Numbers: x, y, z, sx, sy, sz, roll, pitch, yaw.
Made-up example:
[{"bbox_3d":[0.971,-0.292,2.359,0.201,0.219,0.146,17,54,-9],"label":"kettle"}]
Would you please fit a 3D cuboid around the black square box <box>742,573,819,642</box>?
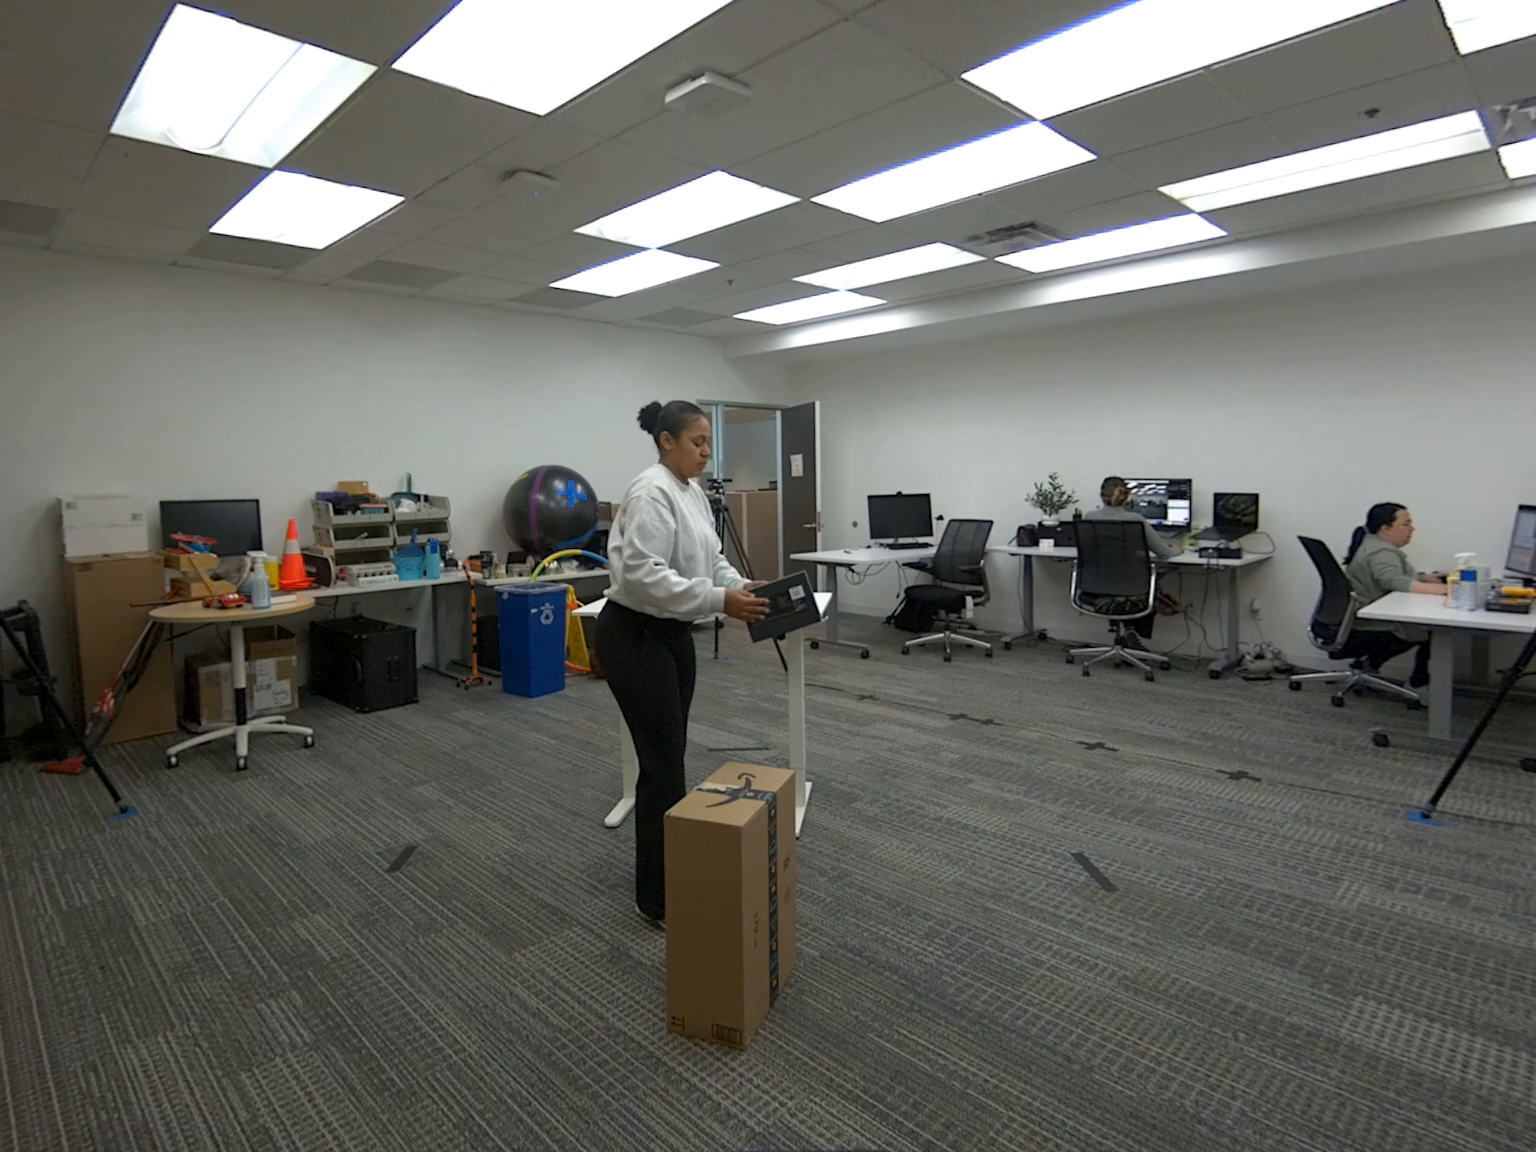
[{"bbox_3d":[0.028,0.091,2.642,0.217,0.156,0.226,-14,-1,3],"label":"black square box"}]
